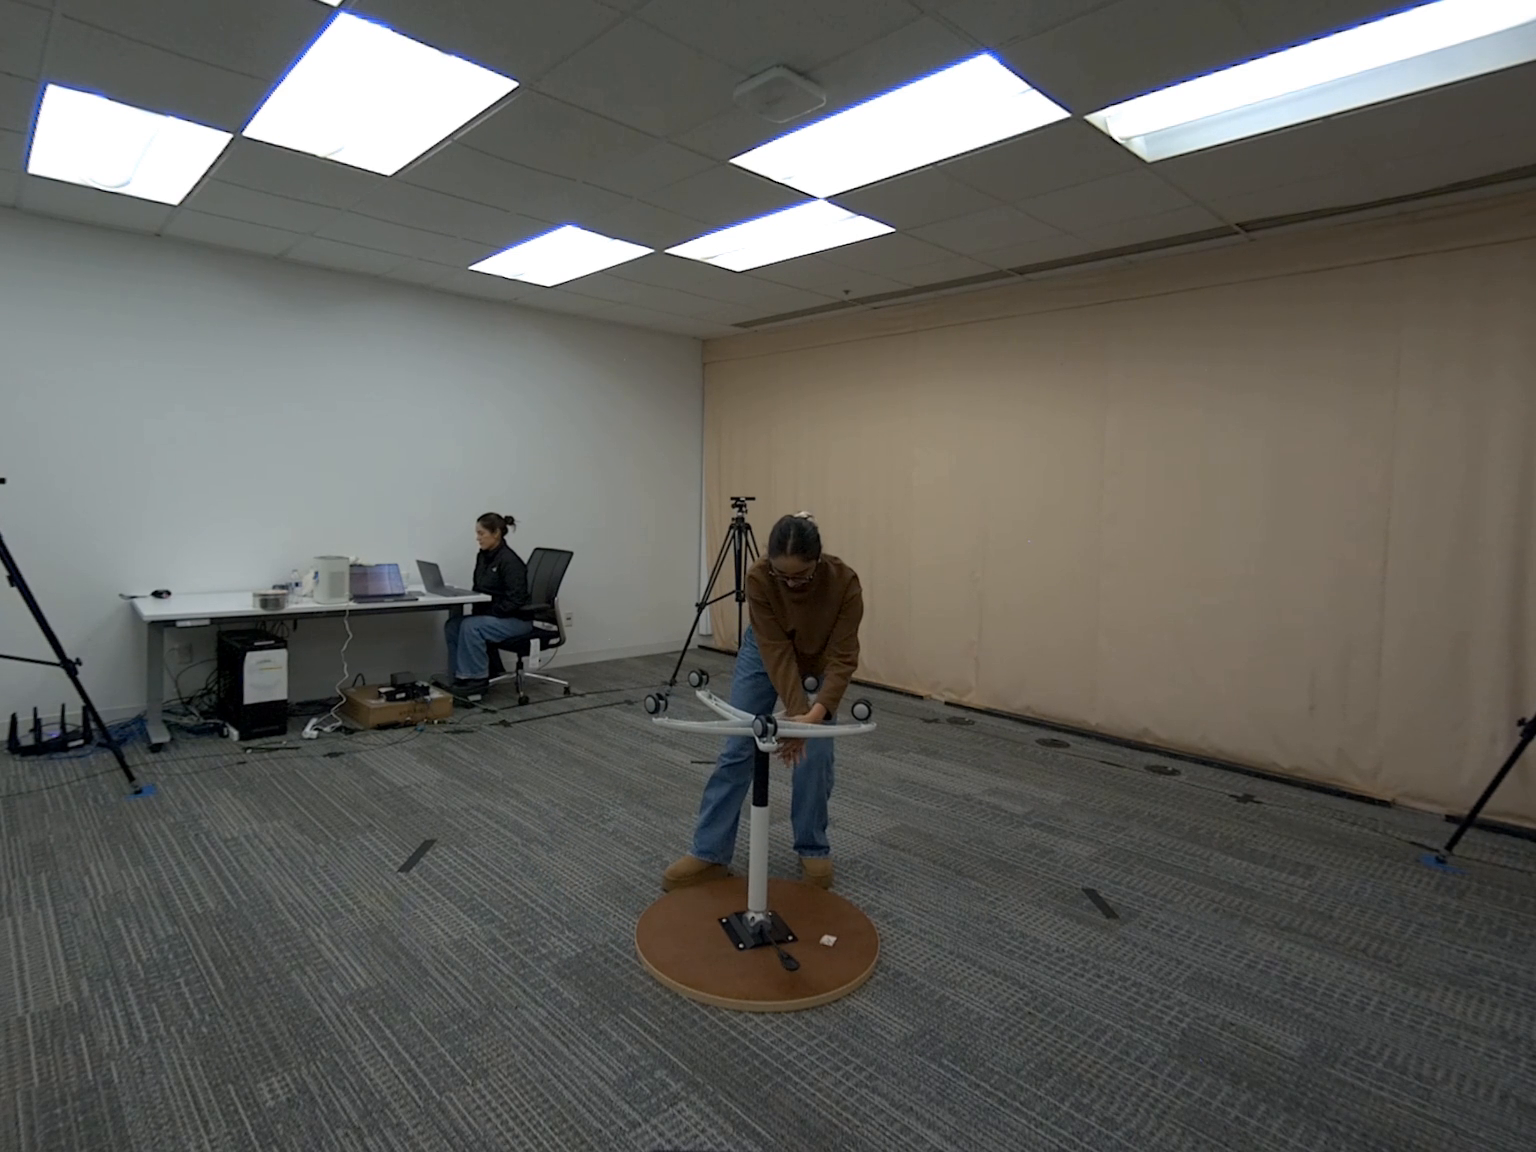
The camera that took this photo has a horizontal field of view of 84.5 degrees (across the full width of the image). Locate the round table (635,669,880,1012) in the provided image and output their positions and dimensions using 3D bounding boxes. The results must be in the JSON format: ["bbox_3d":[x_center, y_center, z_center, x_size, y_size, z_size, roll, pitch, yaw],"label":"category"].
[{"bbox_3d":[-0.034,0.762,2.630,0.763,0.791,0.767,0,5,-1],"label":"round table"}]
